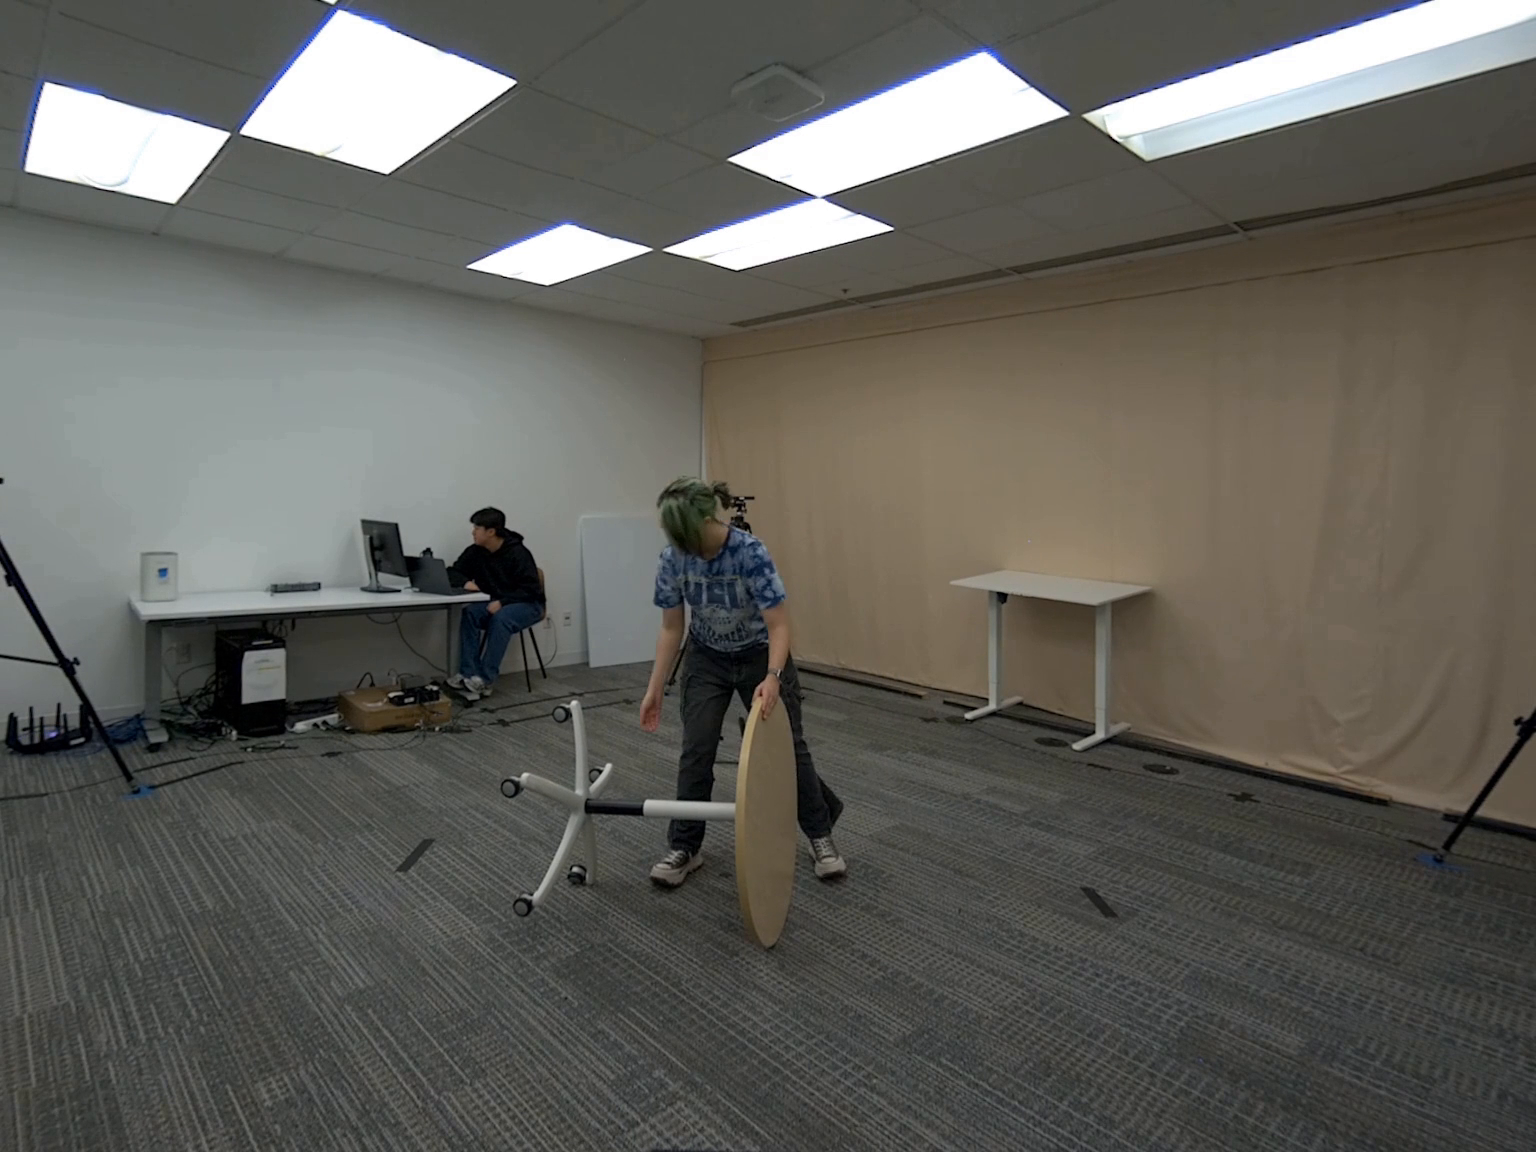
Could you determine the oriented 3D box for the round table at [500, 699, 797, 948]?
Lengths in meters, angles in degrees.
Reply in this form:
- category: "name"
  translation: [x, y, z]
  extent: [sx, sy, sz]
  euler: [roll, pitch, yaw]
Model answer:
- category: "round table"
  translation: [-0.374, 0.779, 2.792]
  extent: [0.803, 0.762, 0.757]
  euler: [-3, 3, 15]
